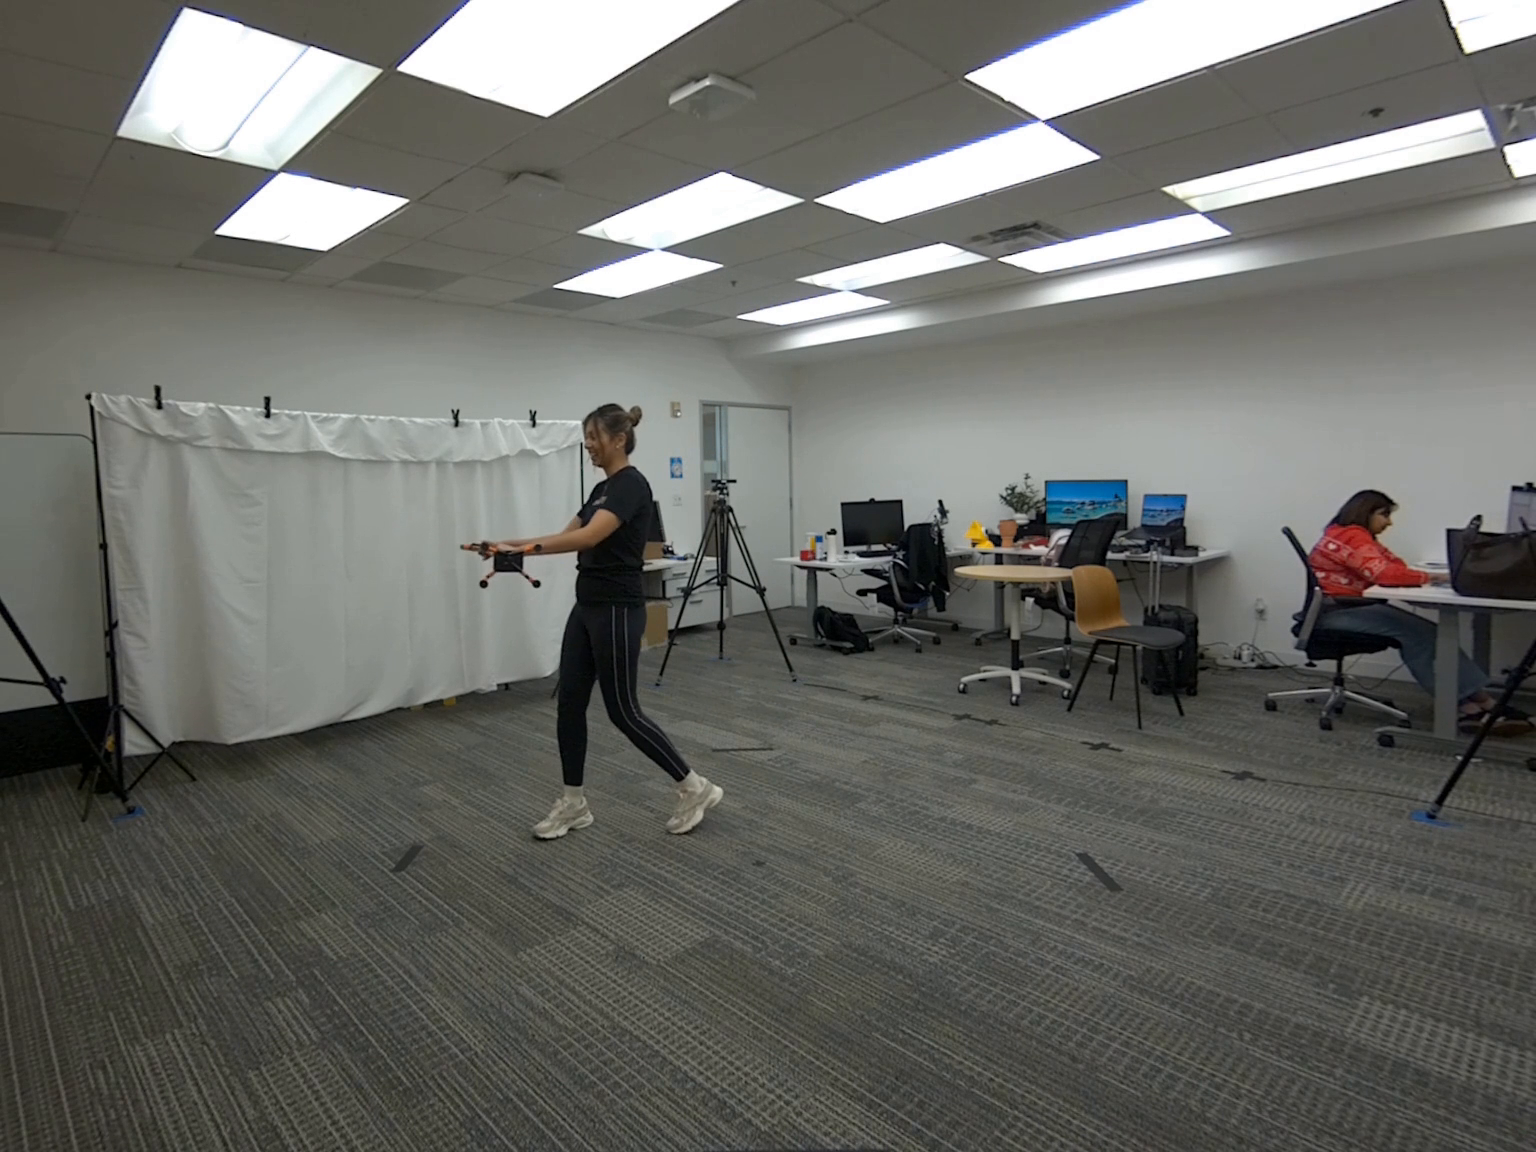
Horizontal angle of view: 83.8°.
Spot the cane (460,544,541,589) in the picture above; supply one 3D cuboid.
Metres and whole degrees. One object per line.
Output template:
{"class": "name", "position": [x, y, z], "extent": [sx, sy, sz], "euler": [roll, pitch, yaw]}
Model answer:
{"class": "cane", "position": [-1.077, -0.075, 3.281], "extent": [0.202, 0.151, 0.932], "euler": [1, 5, -27]}
